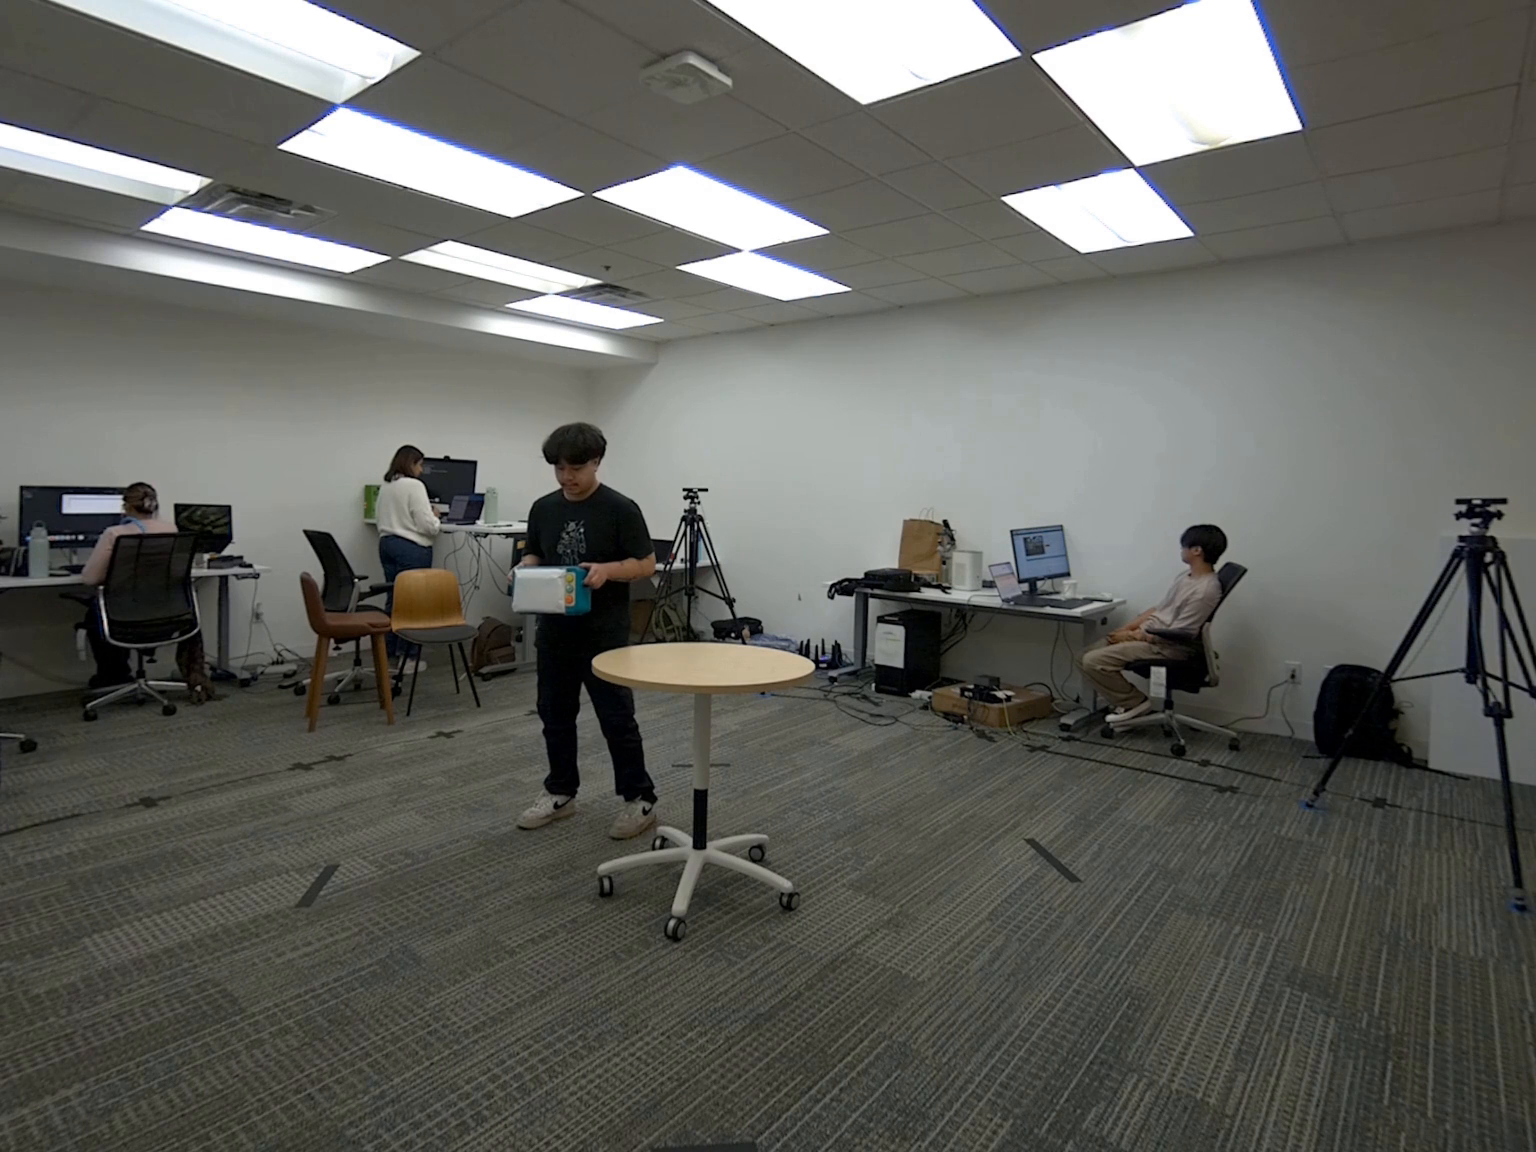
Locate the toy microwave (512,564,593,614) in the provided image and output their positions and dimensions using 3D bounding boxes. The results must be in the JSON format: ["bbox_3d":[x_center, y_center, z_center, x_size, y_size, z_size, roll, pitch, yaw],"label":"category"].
[{"bbox_3d":[-0.822,0.051,3.260,0.291,0.185,0.149,0,-4,15],"label":"toy microwave"}]
